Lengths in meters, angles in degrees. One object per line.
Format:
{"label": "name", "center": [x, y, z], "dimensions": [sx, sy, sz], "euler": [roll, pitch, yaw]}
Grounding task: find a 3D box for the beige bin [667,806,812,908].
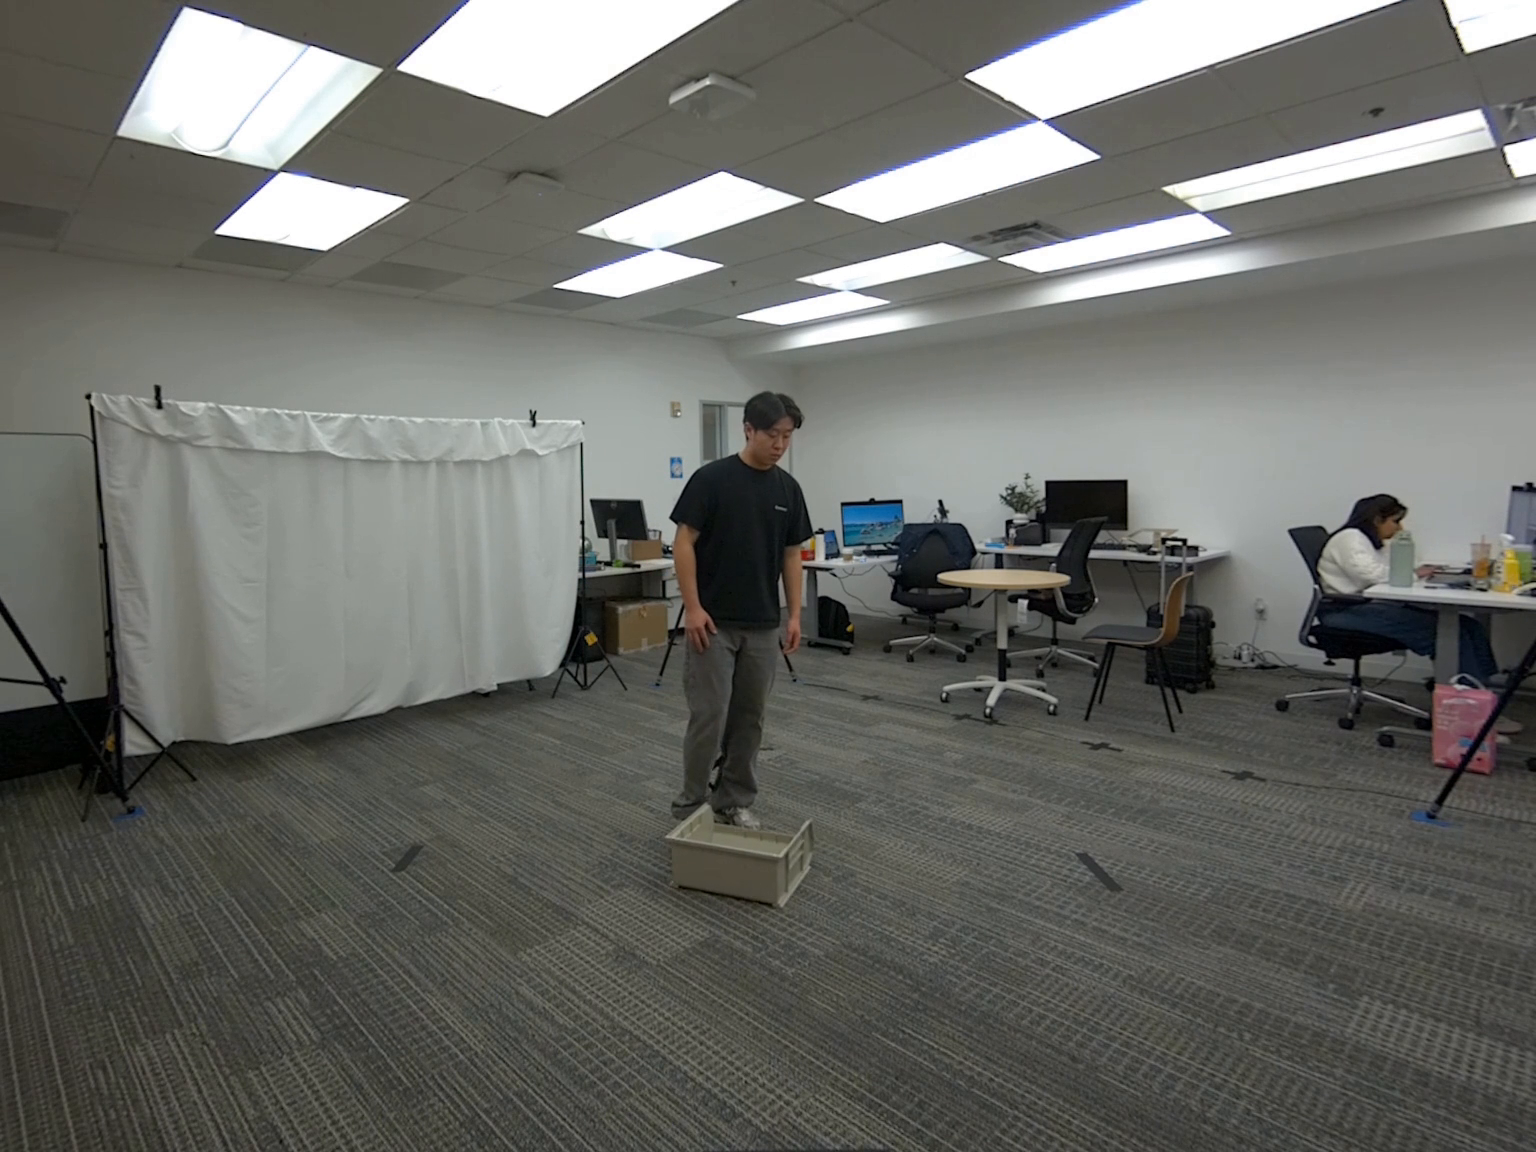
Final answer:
{"label": "beige bin", "center": [-0.087, 0.970, 3.014], "dimensions": [0.431, 0.188, 0.371], "euler": [1, 7, 22]}
